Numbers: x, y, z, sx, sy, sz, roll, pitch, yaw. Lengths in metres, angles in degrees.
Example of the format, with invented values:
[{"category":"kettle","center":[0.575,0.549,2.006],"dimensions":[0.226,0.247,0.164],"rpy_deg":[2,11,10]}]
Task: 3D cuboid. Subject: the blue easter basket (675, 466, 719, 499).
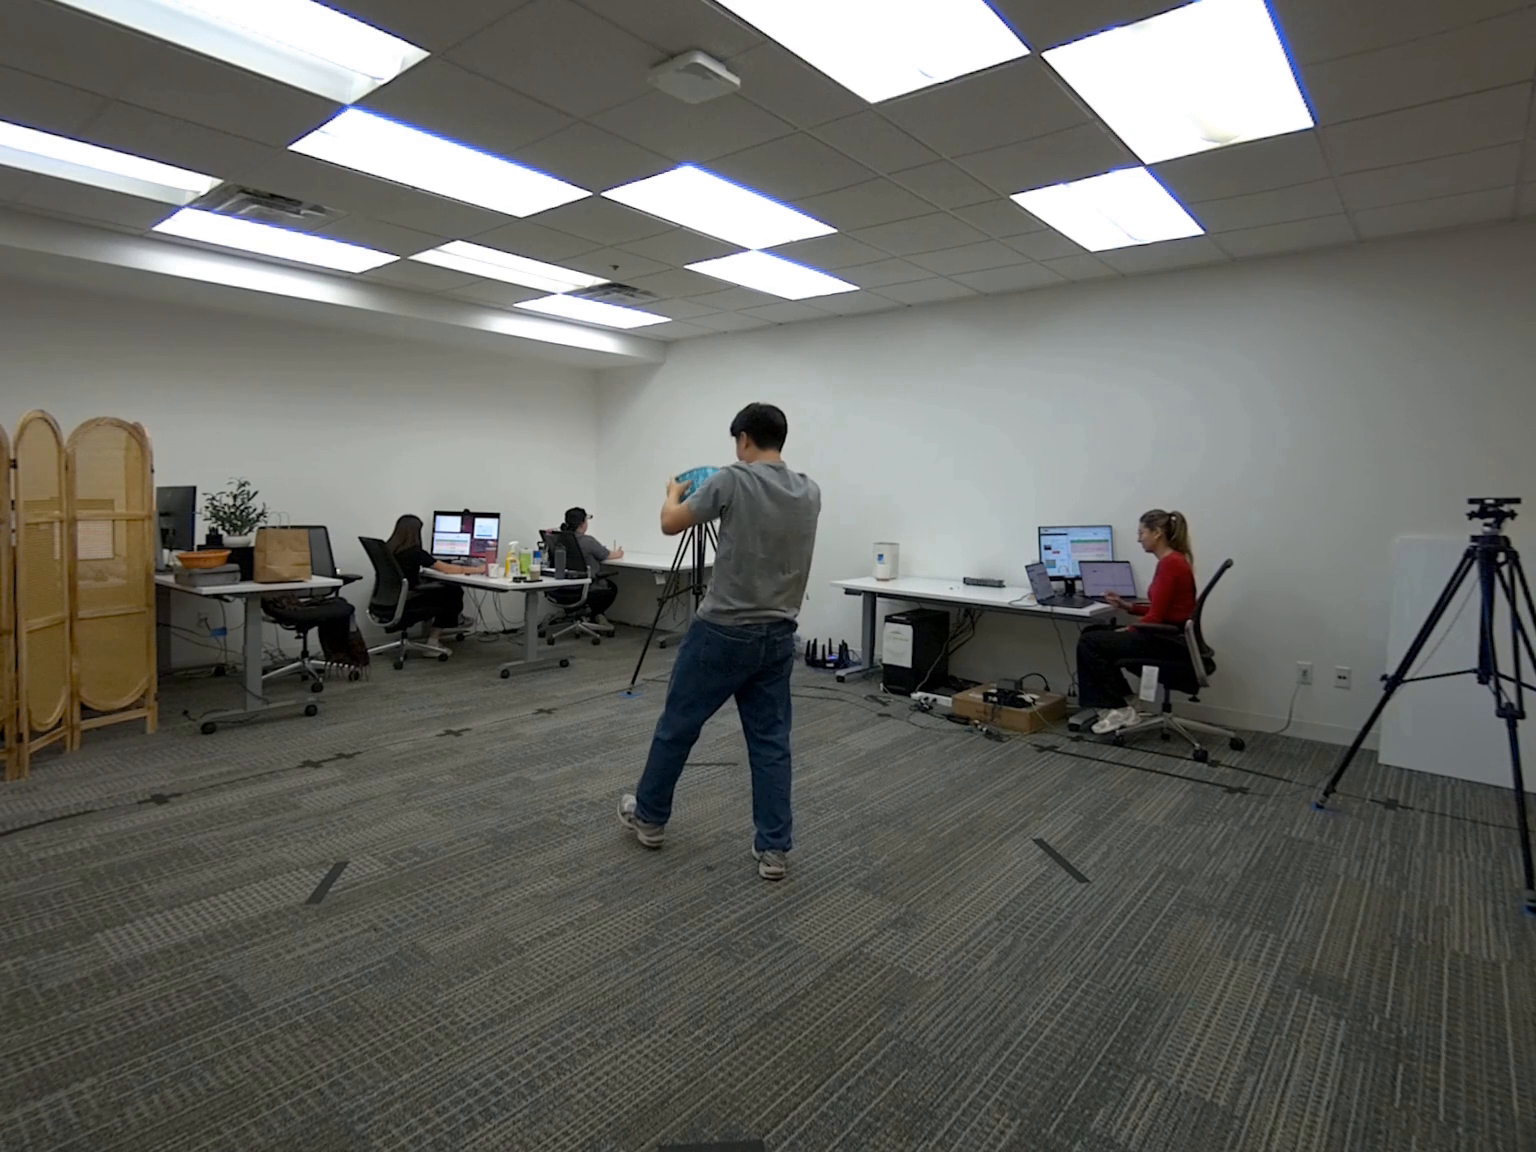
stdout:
[{"category":"blue easter basket","center":[-0.244,-0.365,3.423],"dimensions":[0.243,0.156,0.244],"rpy_deg":[1,0,-2]}]
